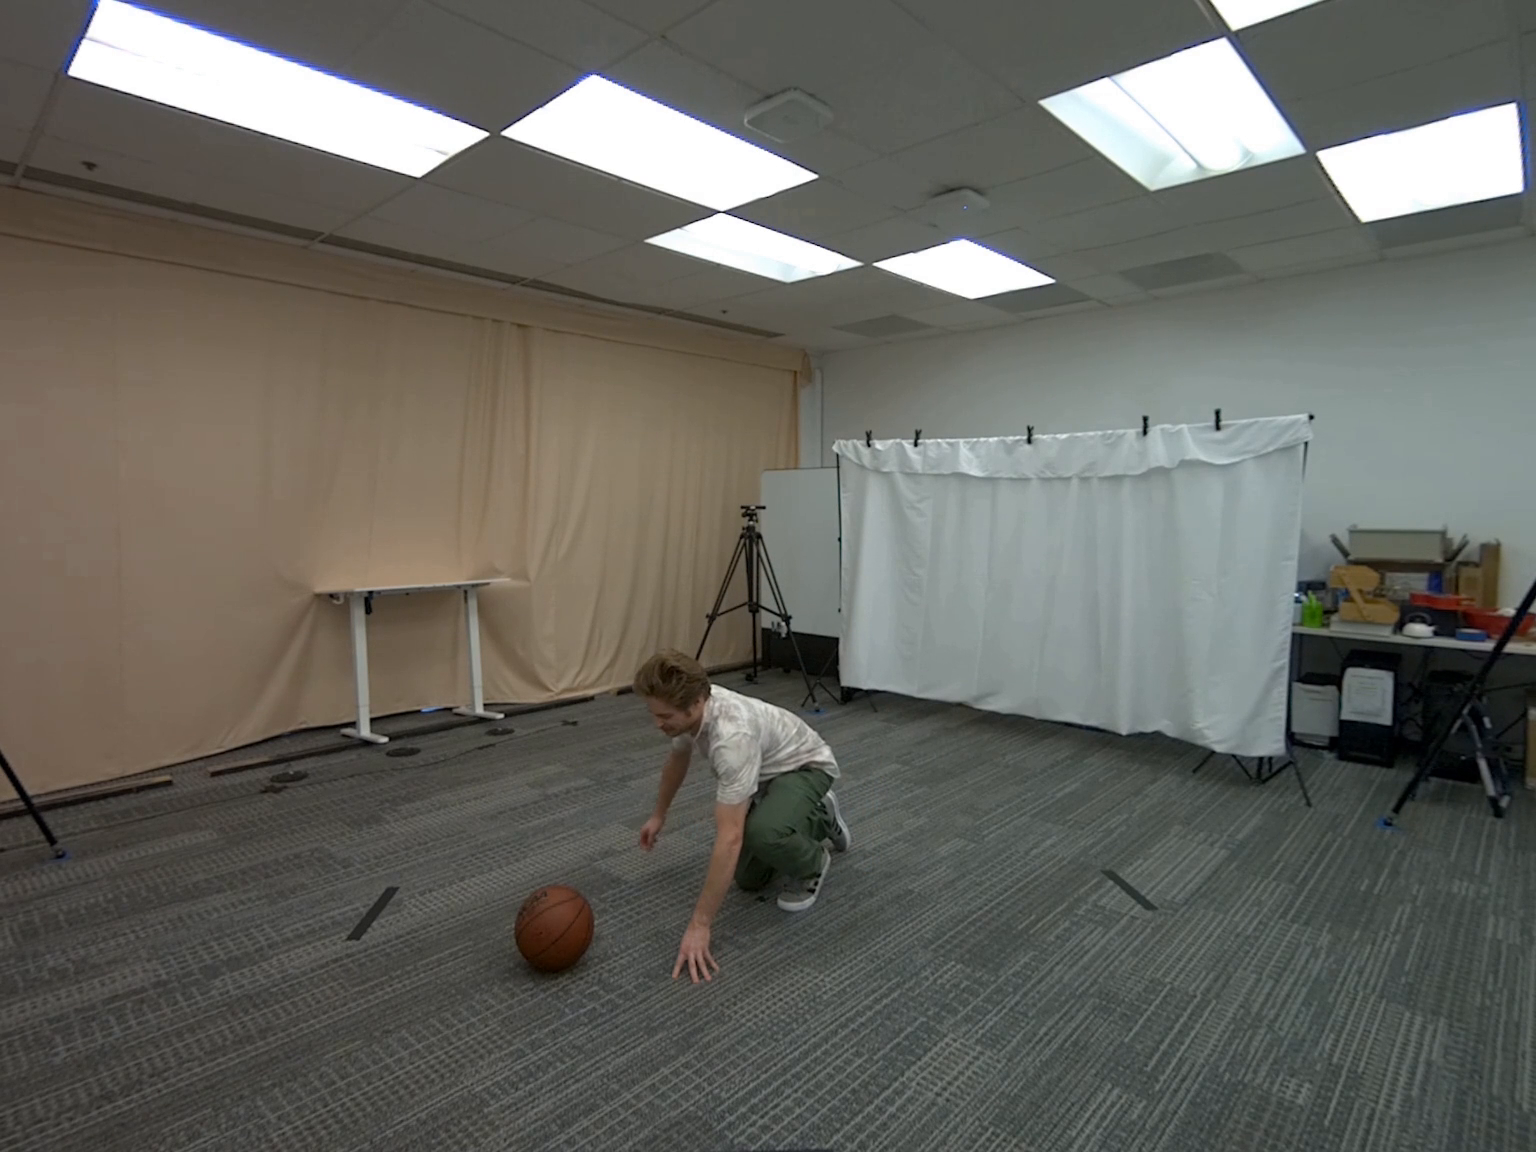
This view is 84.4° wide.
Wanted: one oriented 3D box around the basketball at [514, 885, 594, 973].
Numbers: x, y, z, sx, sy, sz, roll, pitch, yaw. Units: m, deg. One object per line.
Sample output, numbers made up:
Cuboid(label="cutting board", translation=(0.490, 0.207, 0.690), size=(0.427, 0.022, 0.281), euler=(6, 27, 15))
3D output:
Cuboid(label="basketball", translation=(-0.647, 1.064, 2.554), size=(0.236, 0.235, 0.237), euler=(0, 4, -2))
